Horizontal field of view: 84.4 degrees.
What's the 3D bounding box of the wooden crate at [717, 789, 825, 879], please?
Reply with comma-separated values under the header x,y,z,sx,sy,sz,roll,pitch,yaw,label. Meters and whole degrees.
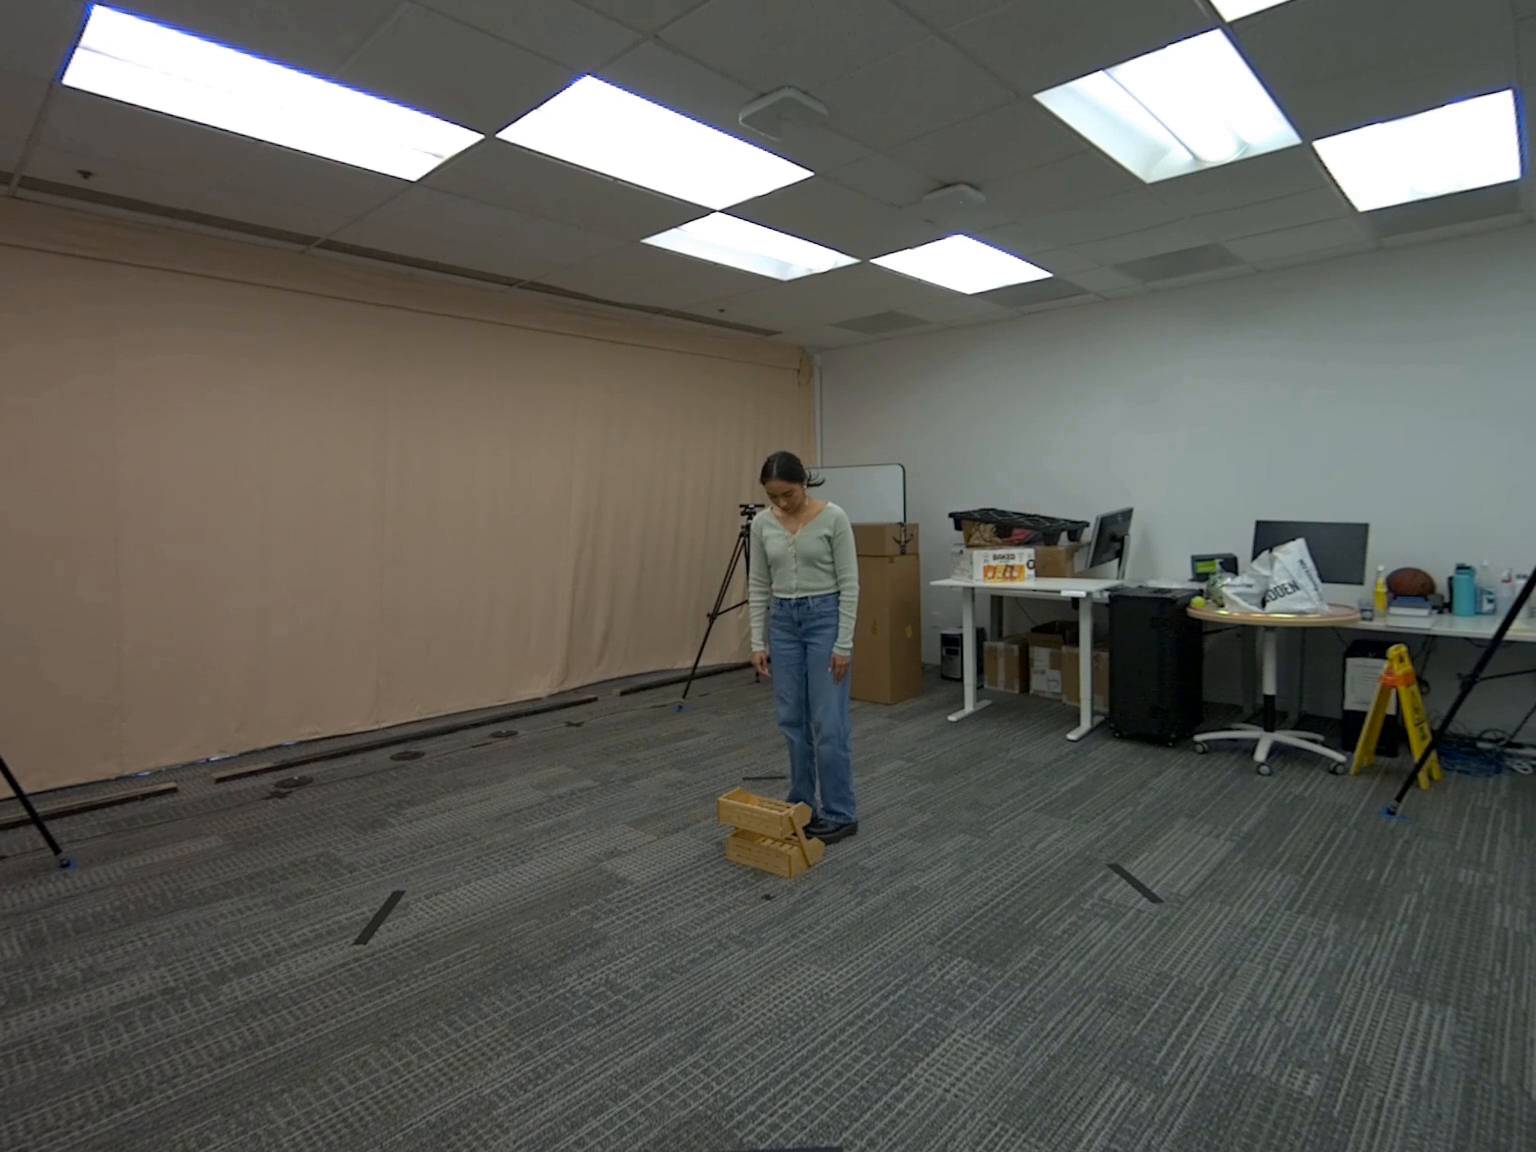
x,y,z,sx,sy,sz,roll,pitch,yaw,label
0.015,0.979,3.286,0.335,0.272,0.293,3,6,35,wooden crate
